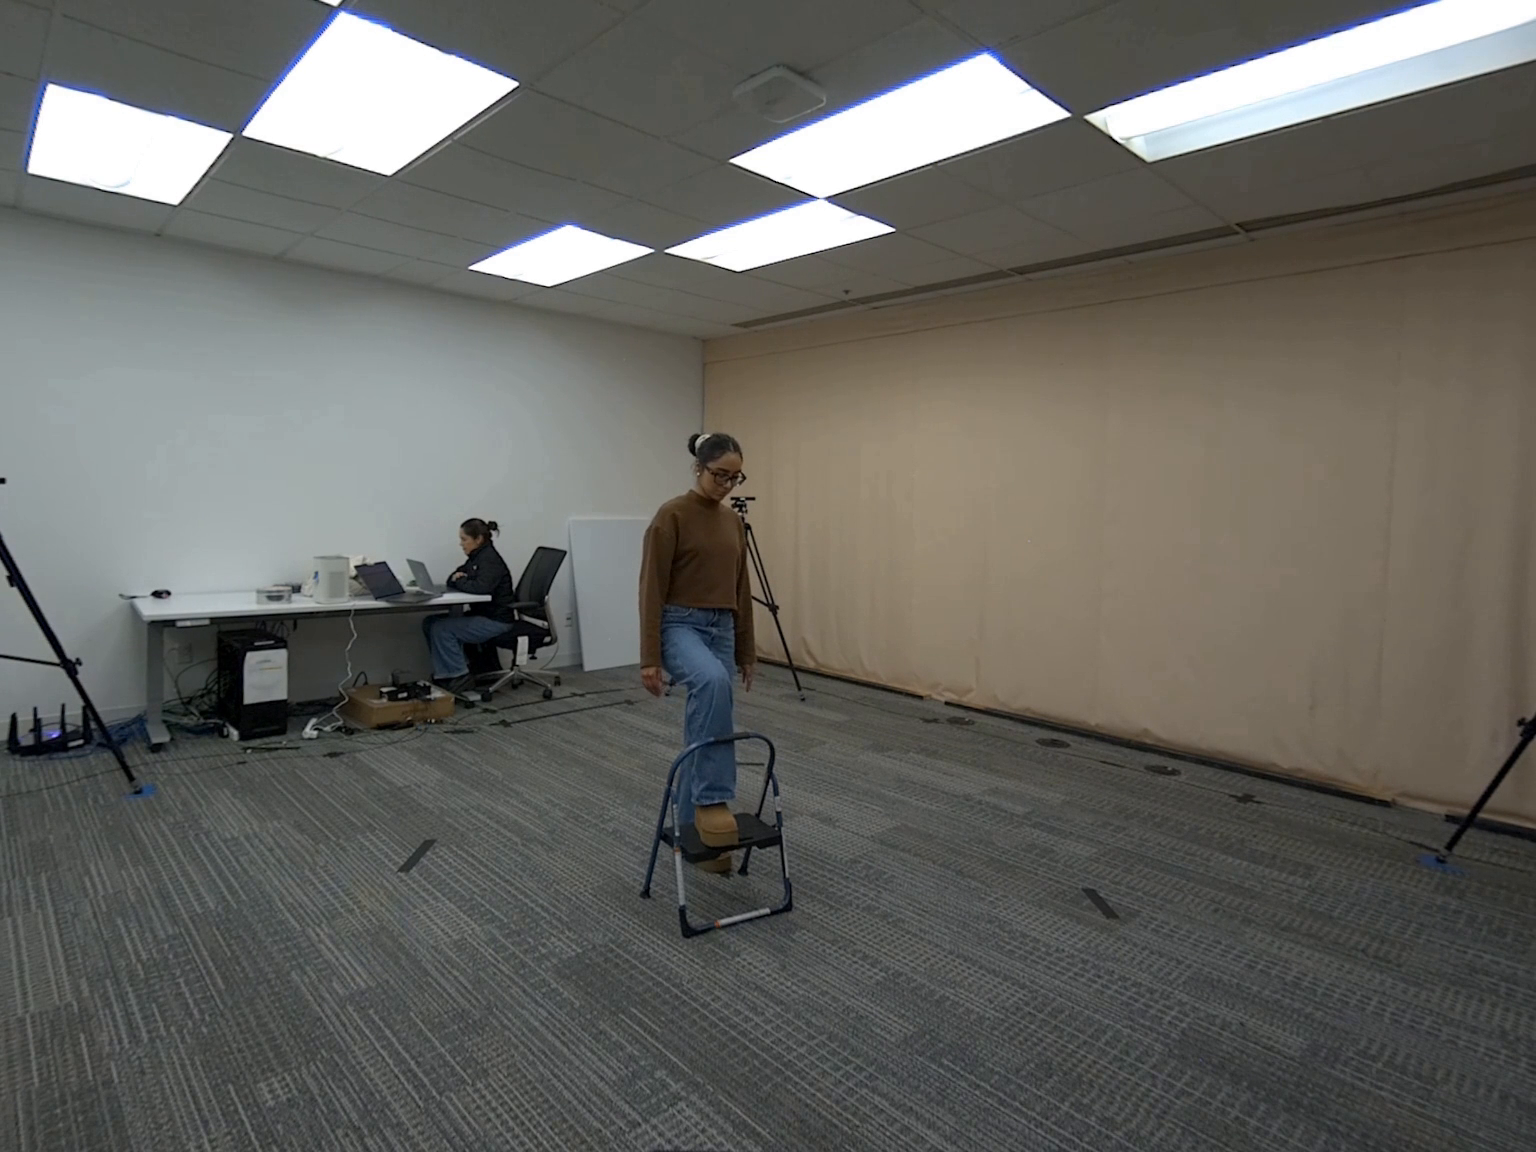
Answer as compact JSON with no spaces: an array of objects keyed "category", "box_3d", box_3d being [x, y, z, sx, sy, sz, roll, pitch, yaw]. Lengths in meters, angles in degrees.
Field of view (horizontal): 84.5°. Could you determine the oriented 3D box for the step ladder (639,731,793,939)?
[{"category":"step ladder","box_3d":[-0.178,0.825,2.881,0.422,0.604,0.357,-1,4,-32]}]
